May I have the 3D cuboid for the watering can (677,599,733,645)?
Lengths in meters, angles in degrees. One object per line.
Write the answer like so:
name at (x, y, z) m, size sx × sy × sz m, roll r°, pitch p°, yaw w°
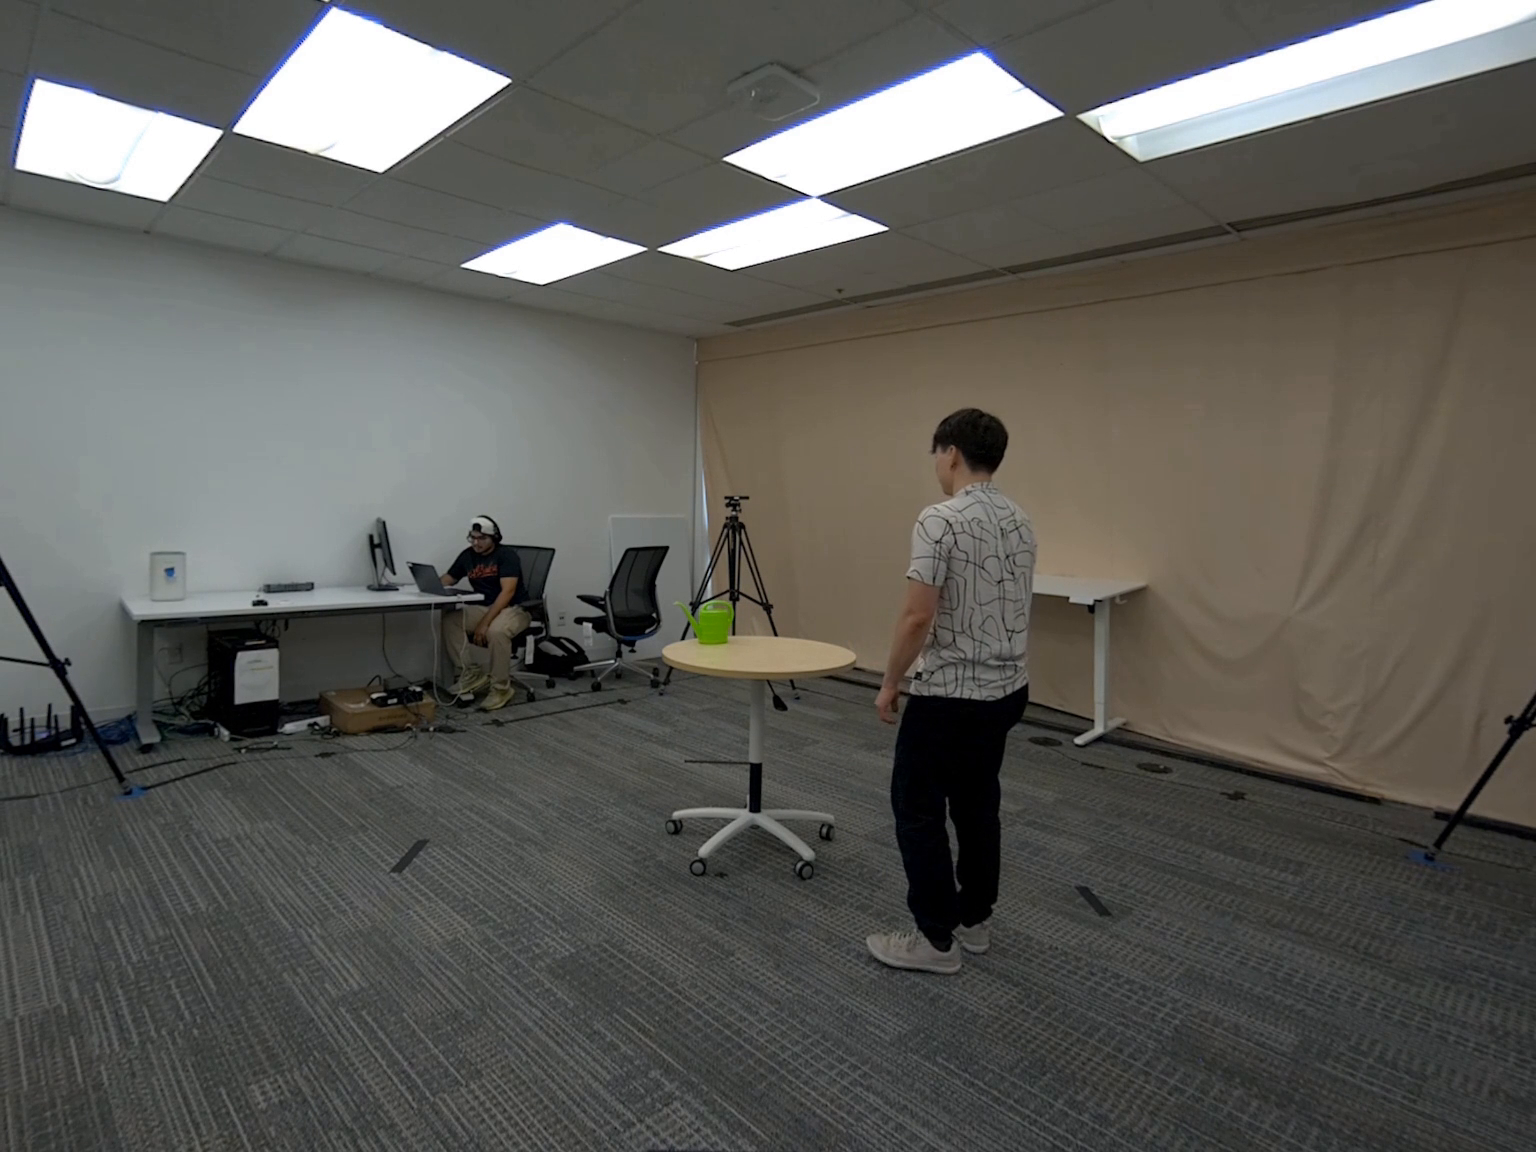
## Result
watering can at (-0.284, 0.190, 3.513) m, size 0.274 × 0.176 × 0.100 m, roll 3°, pitch 6°, yaw -18°
